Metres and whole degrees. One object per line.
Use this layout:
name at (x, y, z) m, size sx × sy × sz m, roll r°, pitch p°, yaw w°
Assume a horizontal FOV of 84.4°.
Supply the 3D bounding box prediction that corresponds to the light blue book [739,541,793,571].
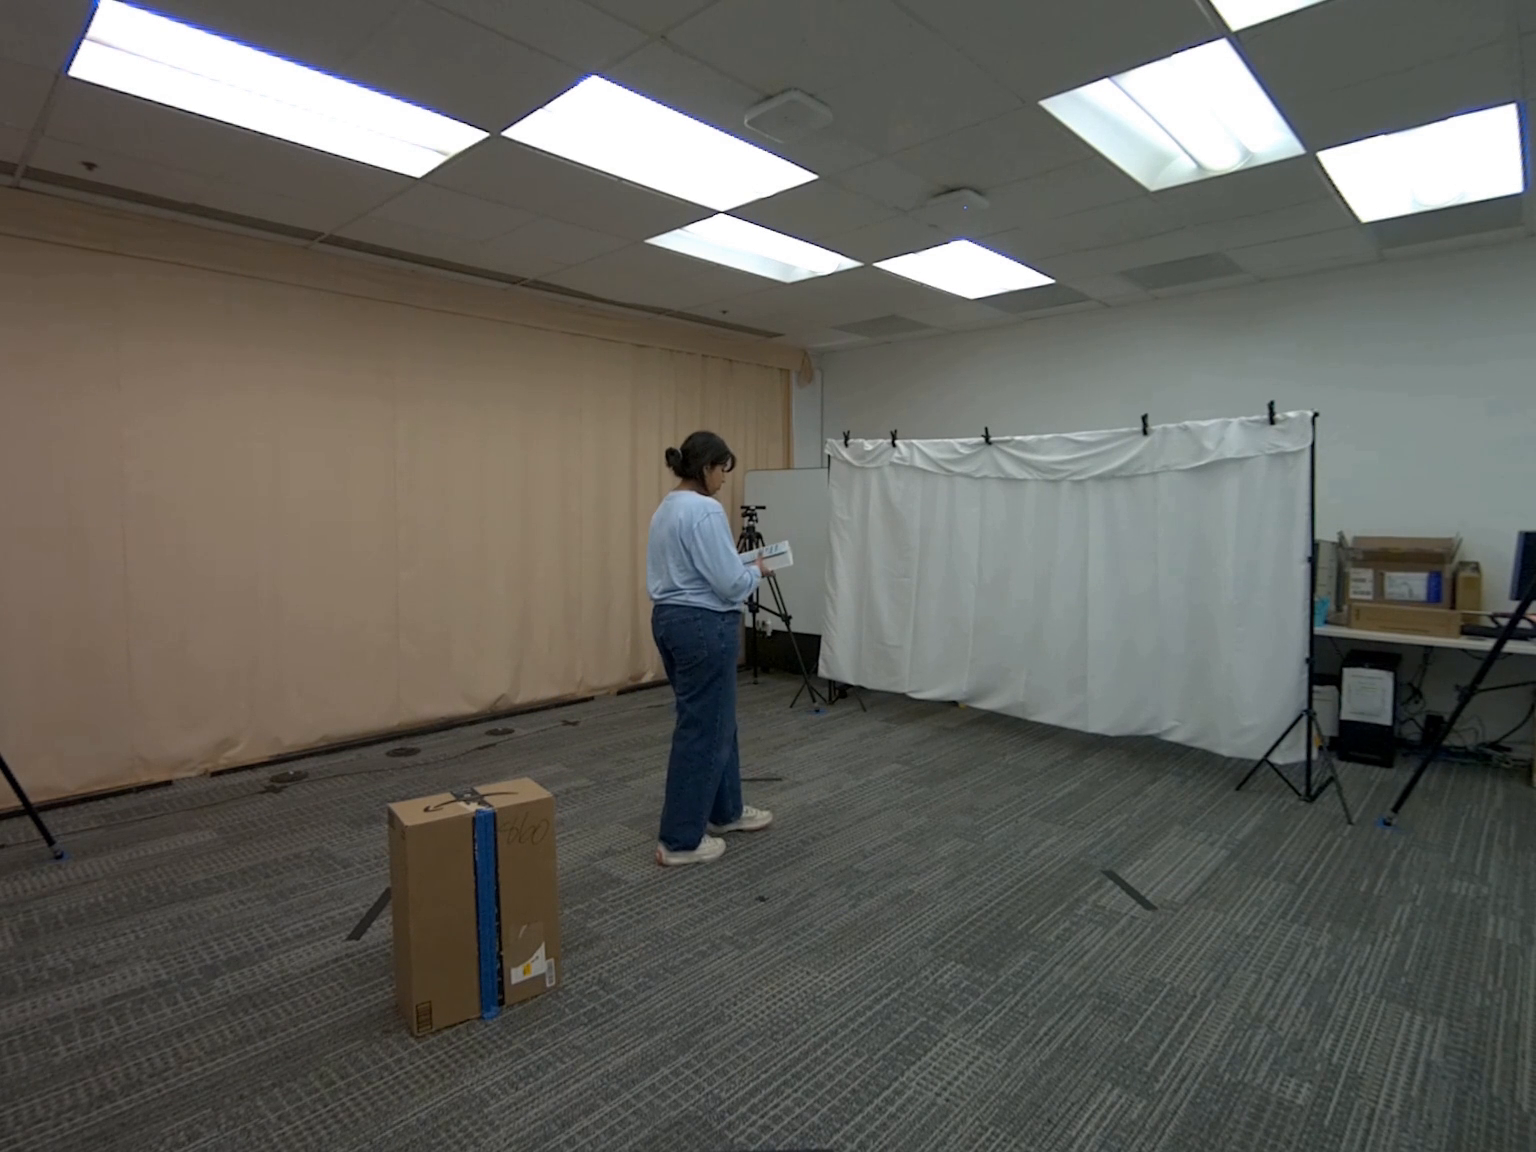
light blue book at (-0.034, -0.064, 3.527) m, size 0.263 × 0.058 × 0.192 m, roll -16°, pitch 17°, yaw 8°
